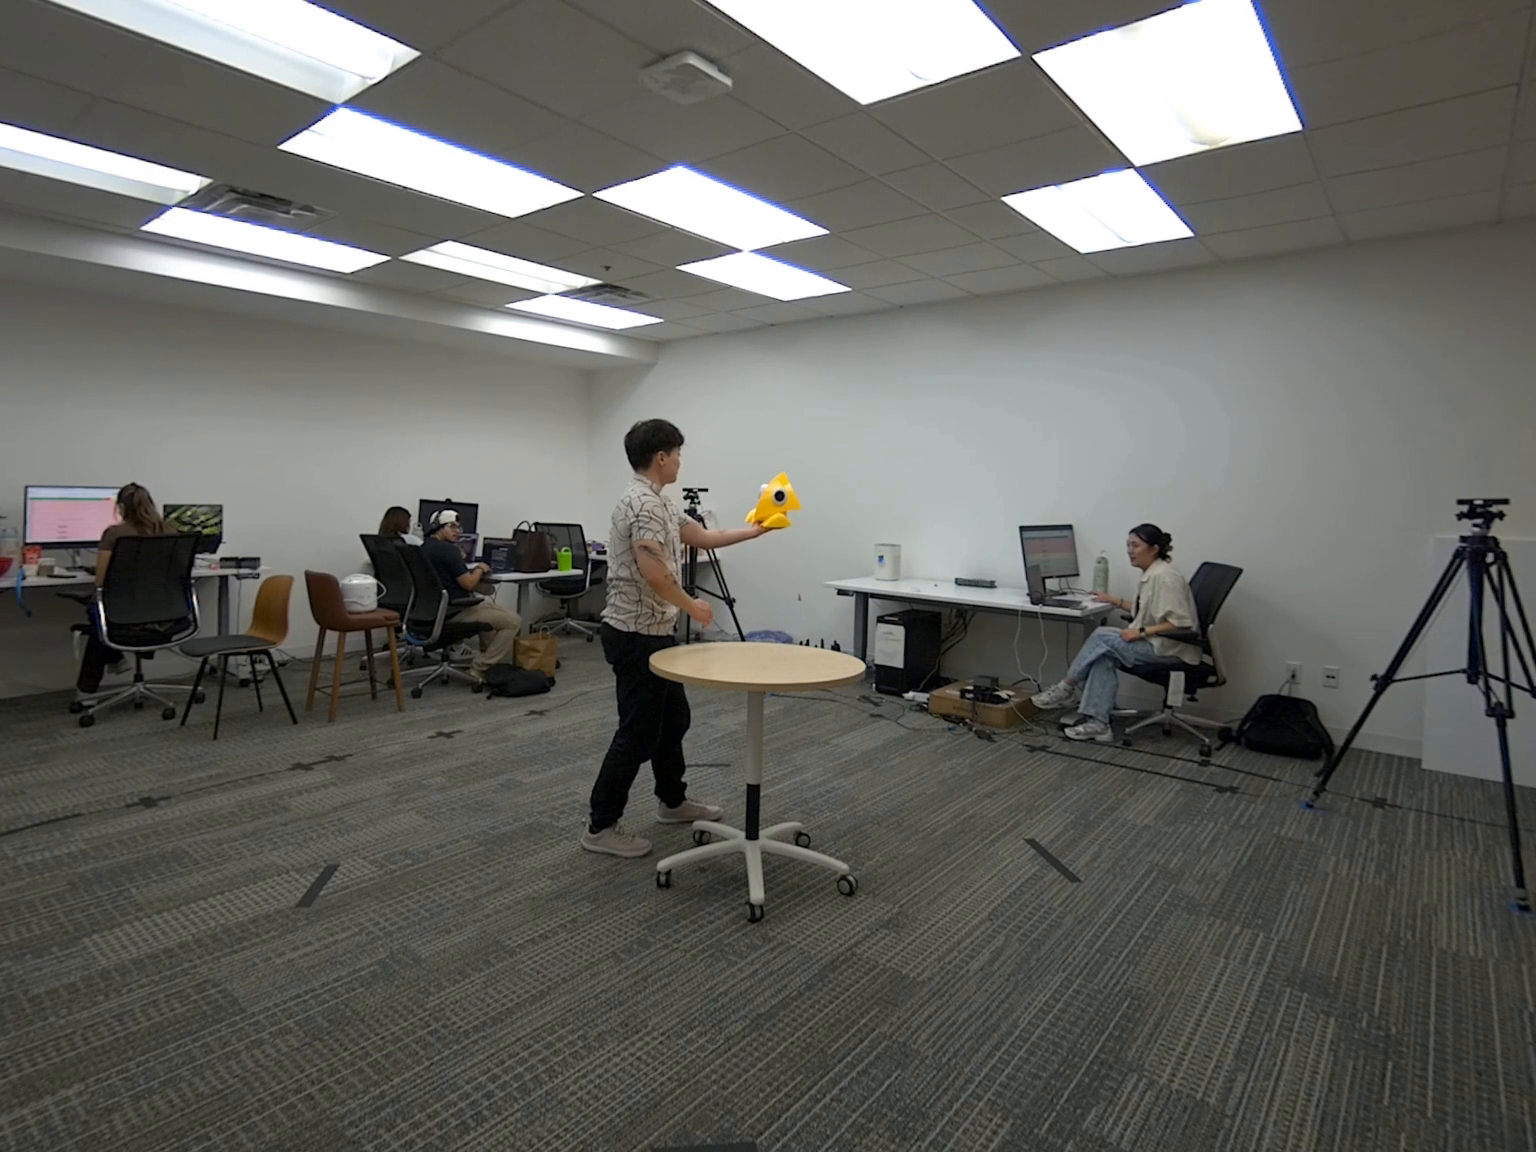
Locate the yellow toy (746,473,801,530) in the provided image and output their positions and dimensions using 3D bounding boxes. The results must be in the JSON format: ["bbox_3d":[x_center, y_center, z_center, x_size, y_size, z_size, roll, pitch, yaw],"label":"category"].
[{"bbox_3d":[0.007,-0.348,3.750,0.187,0.228,0.212,-5,14,-38],"label":"yellow toy"}]
